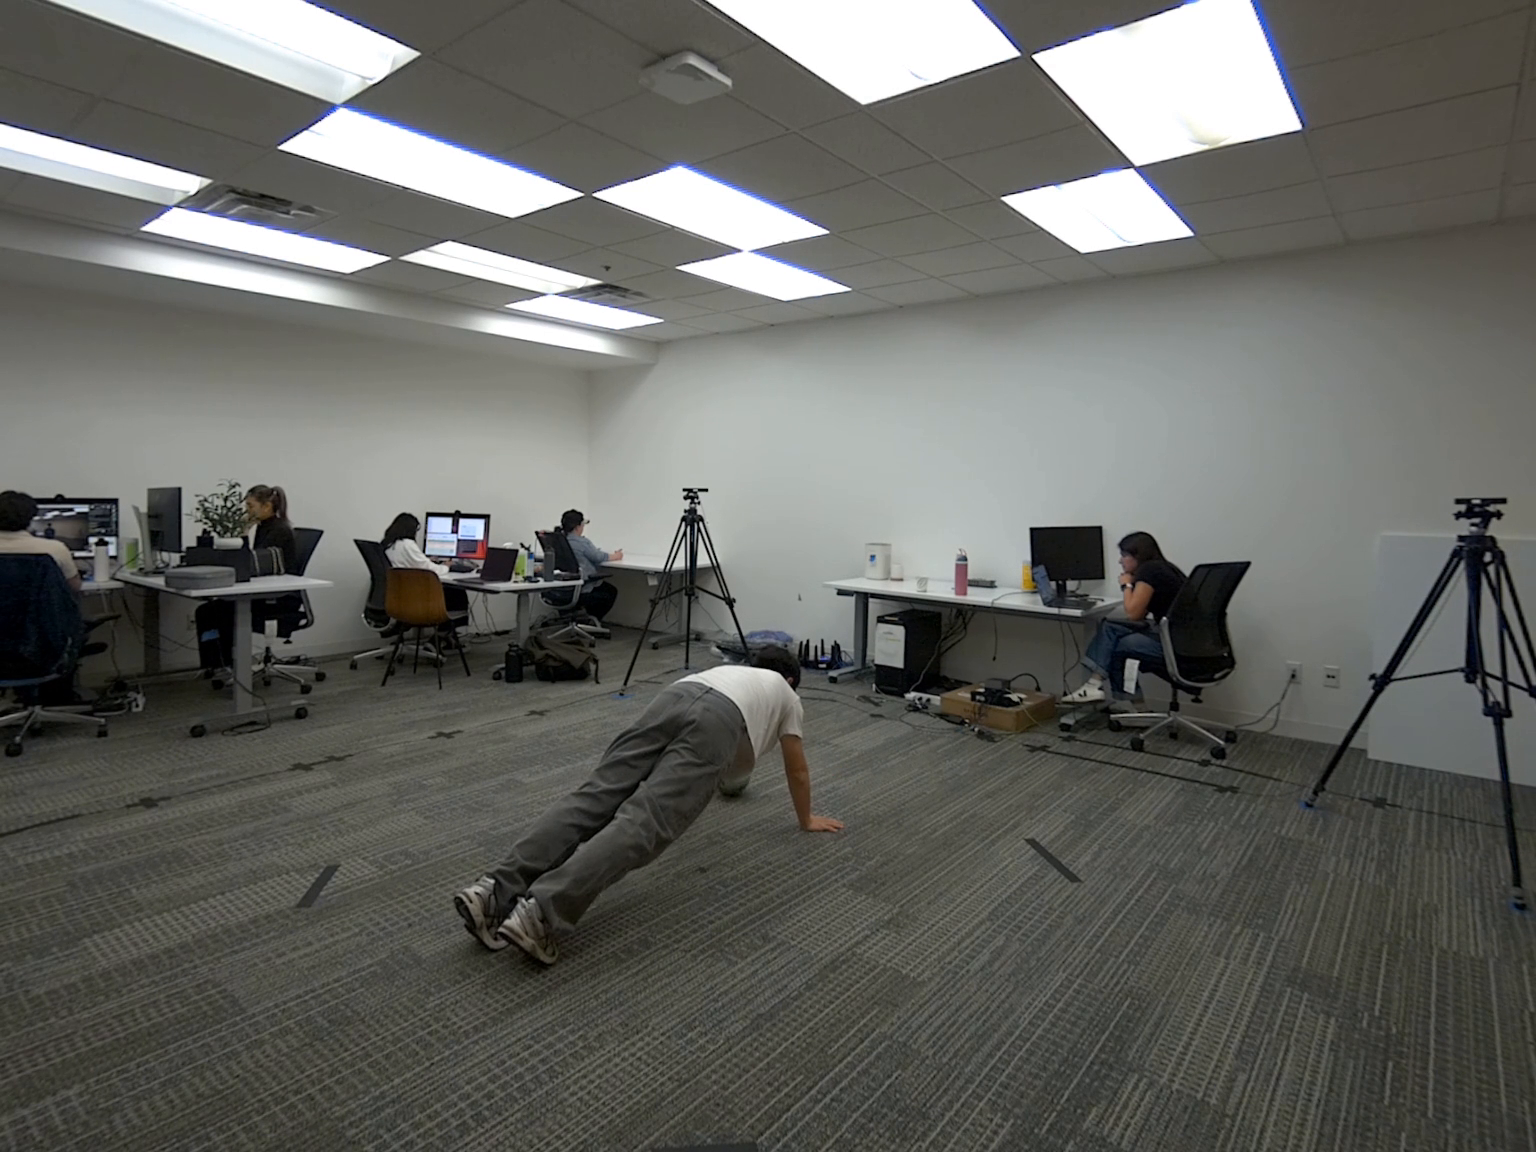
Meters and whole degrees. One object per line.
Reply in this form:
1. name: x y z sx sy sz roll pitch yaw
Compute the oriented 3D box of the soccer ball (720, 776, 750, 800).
1. soccer ball: -0.157 0.891 3.883 0.187 0.187 0.188 1 4 -2
